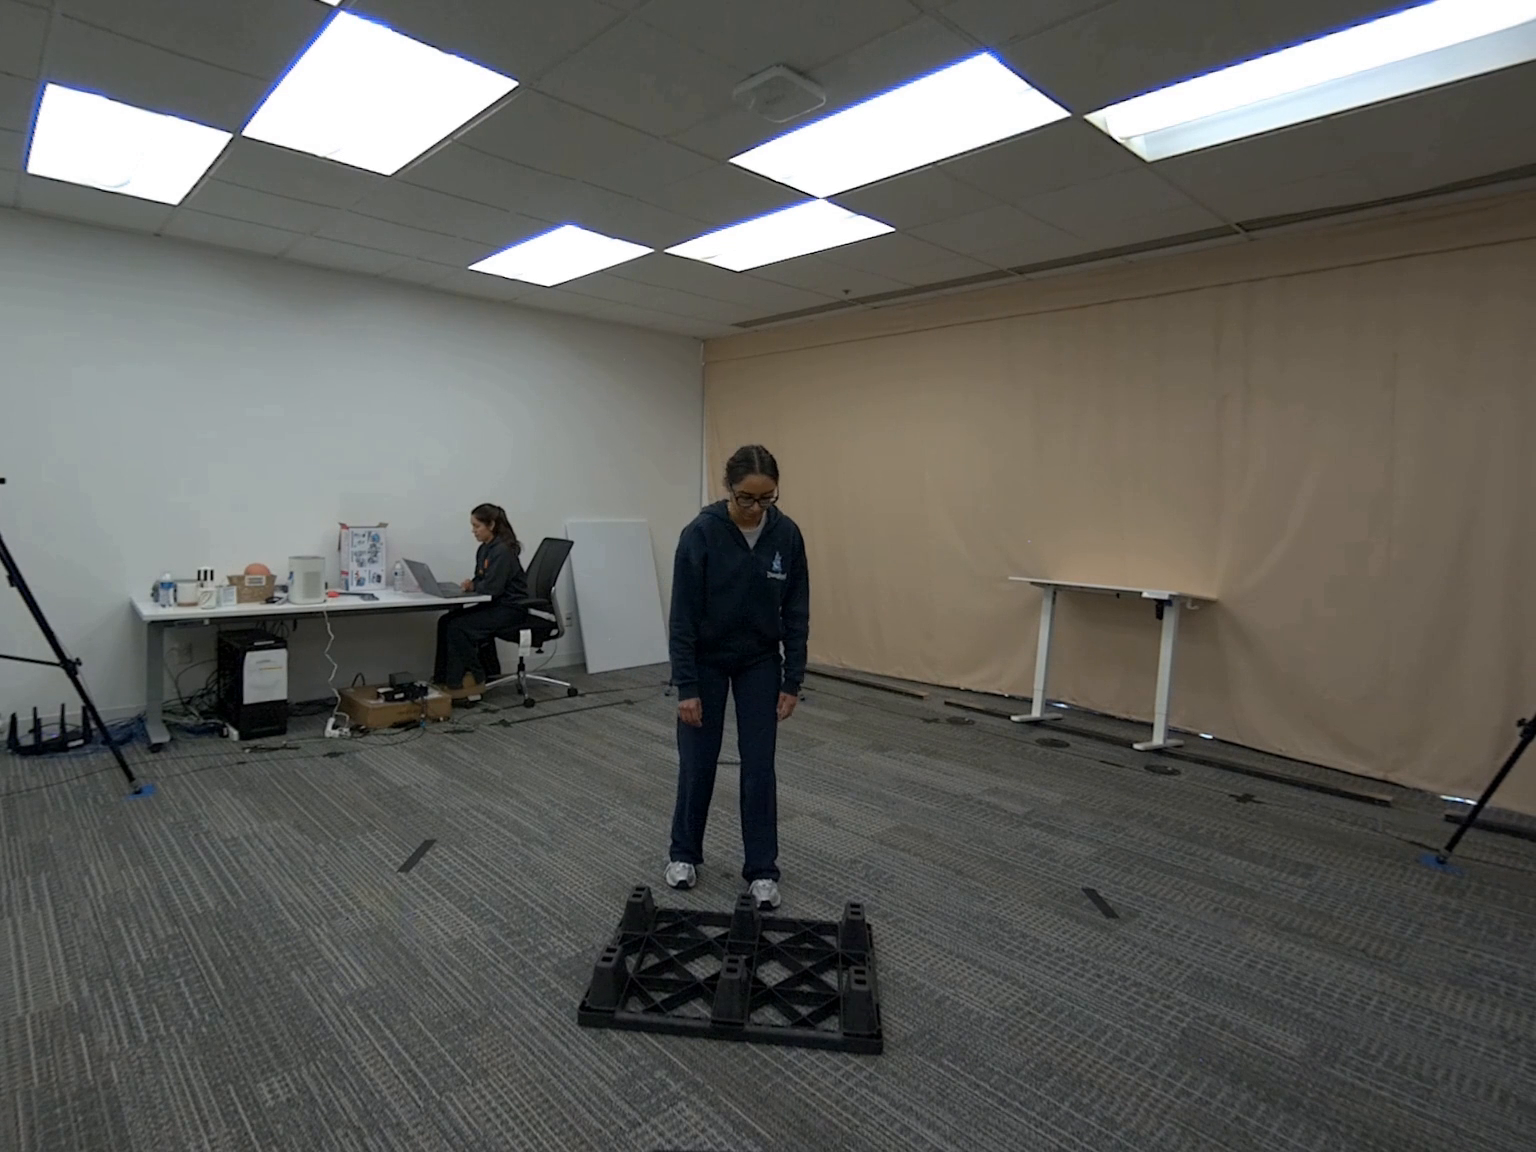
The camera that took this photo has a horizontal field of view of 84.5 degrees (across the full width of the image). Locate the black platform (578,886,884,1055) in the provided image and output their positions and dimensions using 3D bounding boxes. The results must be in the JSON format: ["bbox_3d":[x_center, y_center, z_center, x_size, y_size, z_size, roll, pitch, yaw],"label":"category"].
[{"bbox_3d":[-0.090,1.103,2.447,0.809,0.143,0.604,2,5,5],"label":"black platform"}]
